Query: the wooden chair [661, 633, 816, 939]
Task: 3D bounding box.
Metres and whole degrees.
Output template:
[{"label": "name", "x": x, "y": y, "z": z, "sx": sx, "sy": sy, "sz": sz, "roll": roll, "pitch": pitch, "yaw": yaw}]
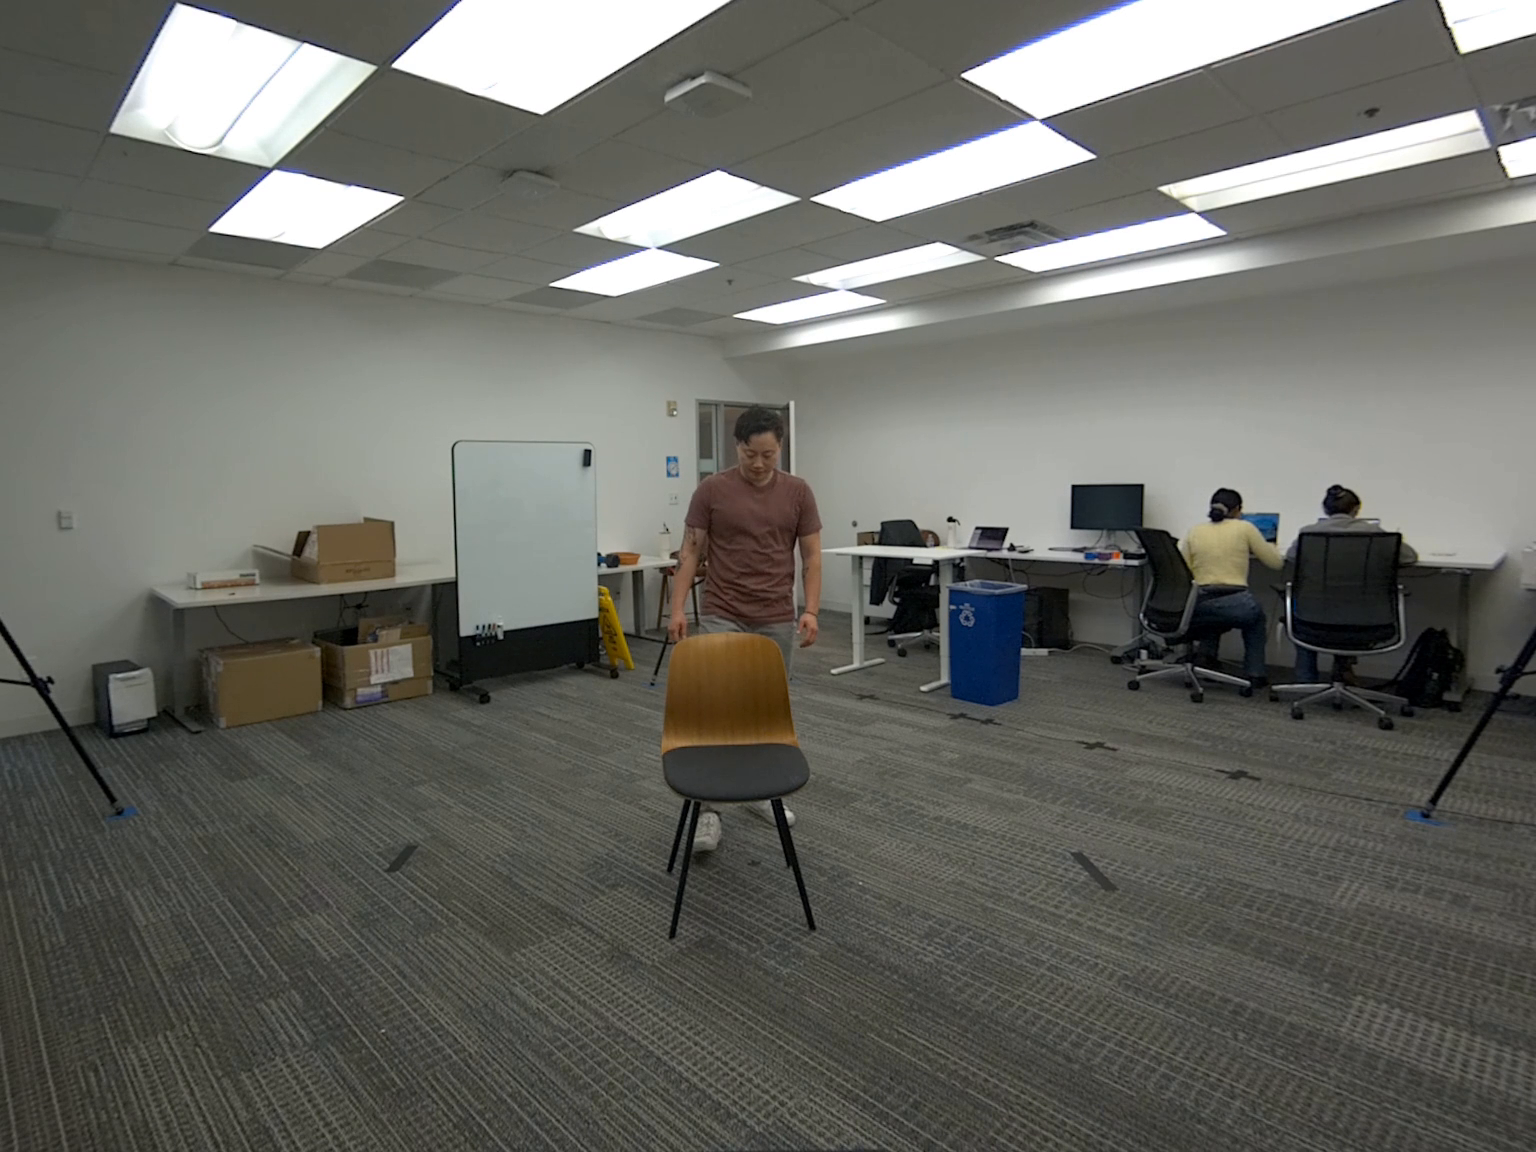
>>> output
[{"label": "wooden chair", "x": -0.111, "y": 0.655, "z": 2.798, "sx": 0.475, "sy": 0.878, "sz": 0.526, "roll": 0, "pitch": 0, "yaw": -7}]
